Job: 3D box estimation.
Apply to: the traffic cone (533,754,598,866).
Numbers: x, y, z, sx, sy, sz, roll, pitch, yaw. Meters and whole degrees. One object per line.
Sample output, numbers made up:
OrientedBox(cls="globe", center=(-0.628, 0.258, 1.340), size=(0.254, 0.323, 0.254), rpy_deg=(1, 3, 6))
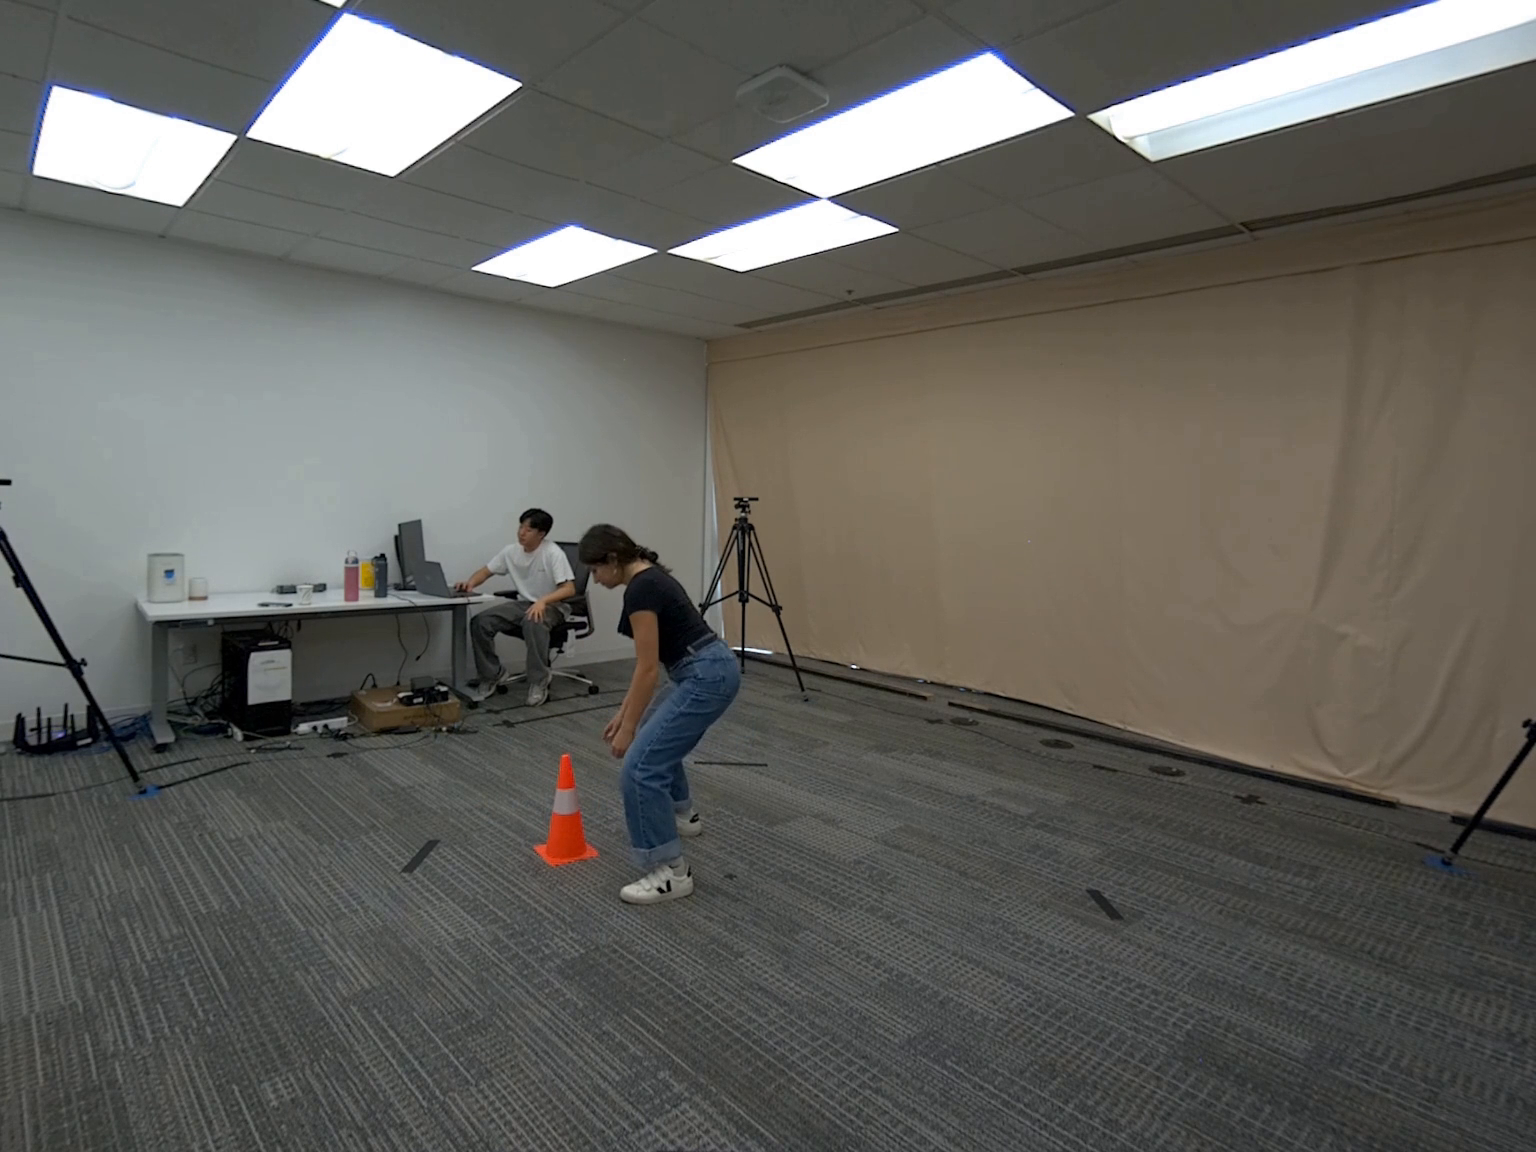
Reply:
OrientedBox(cls="traffic cone", center=(-0.804, 0.895, 3.273), size=(0.201, 0.383, 0.208), rpy_deg=(-3, 4, -31))
